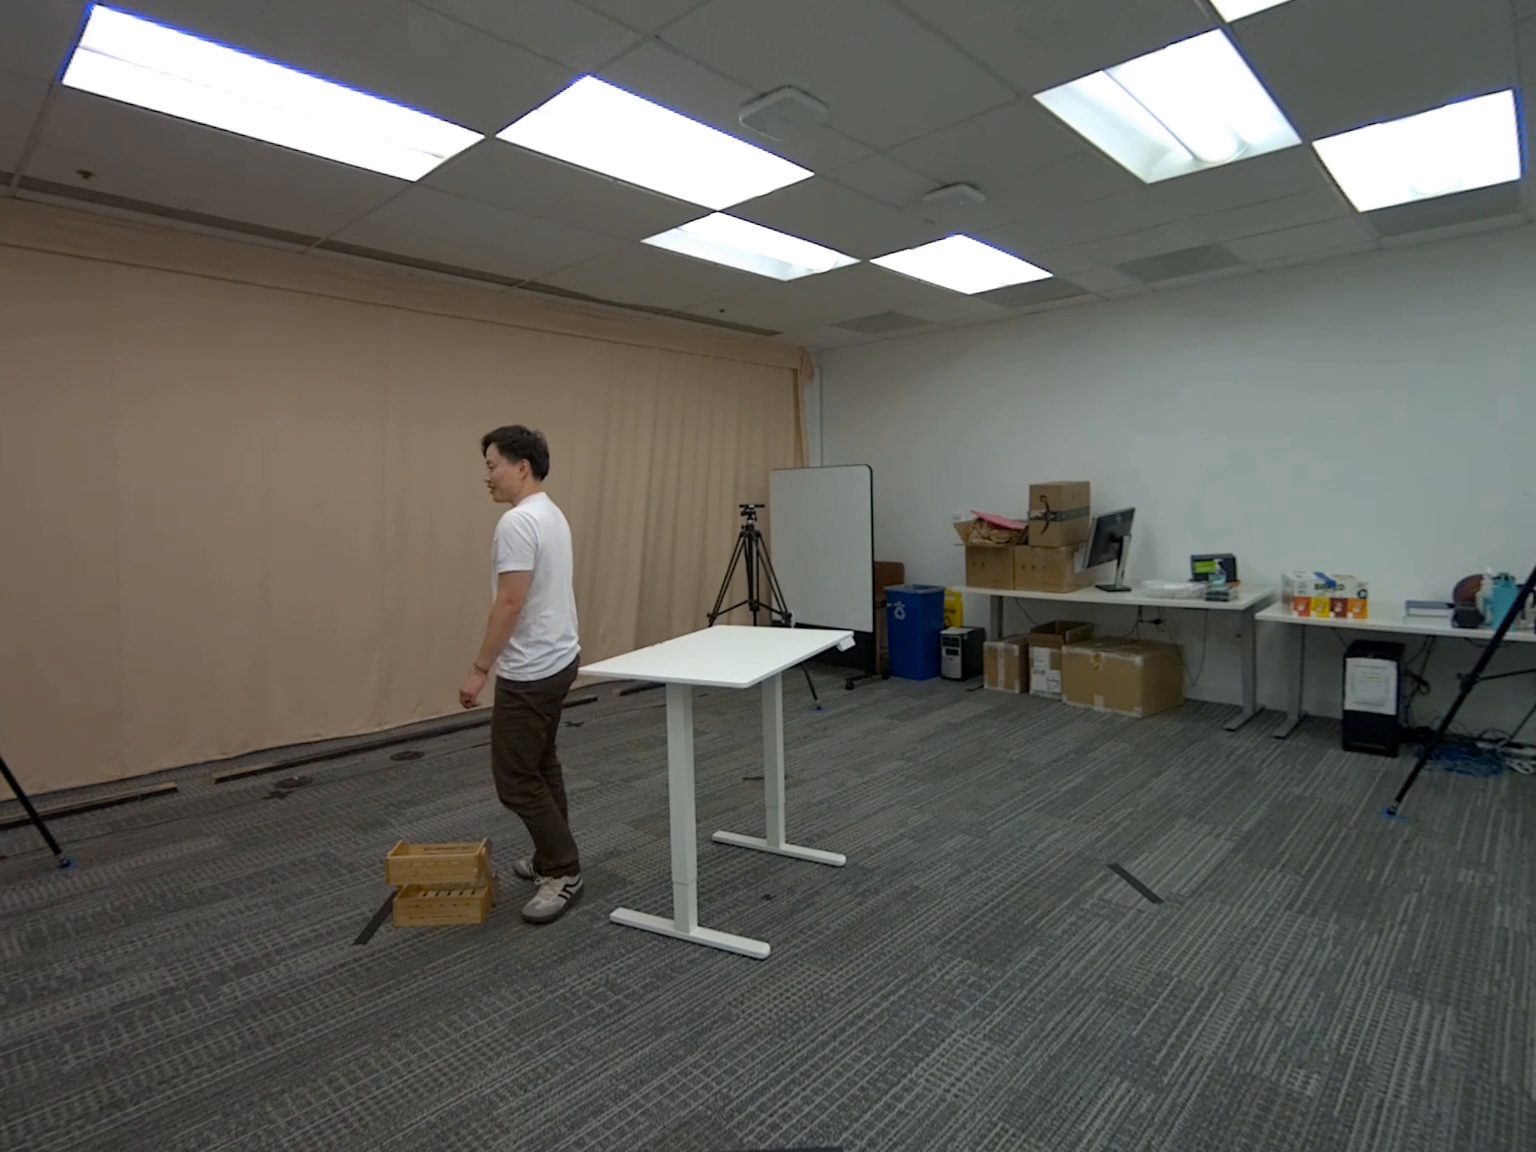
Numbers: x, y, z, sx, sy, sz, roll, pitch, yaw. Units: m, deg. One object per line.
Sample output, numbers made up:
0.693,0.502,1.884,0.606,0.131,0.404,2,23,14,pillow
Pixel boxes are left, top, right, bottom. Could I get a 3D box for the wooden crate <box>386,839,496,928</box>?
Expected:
-1.127,1.040,2.928,0.323,0.272,0.304,-2,4,-4,wooden crate
